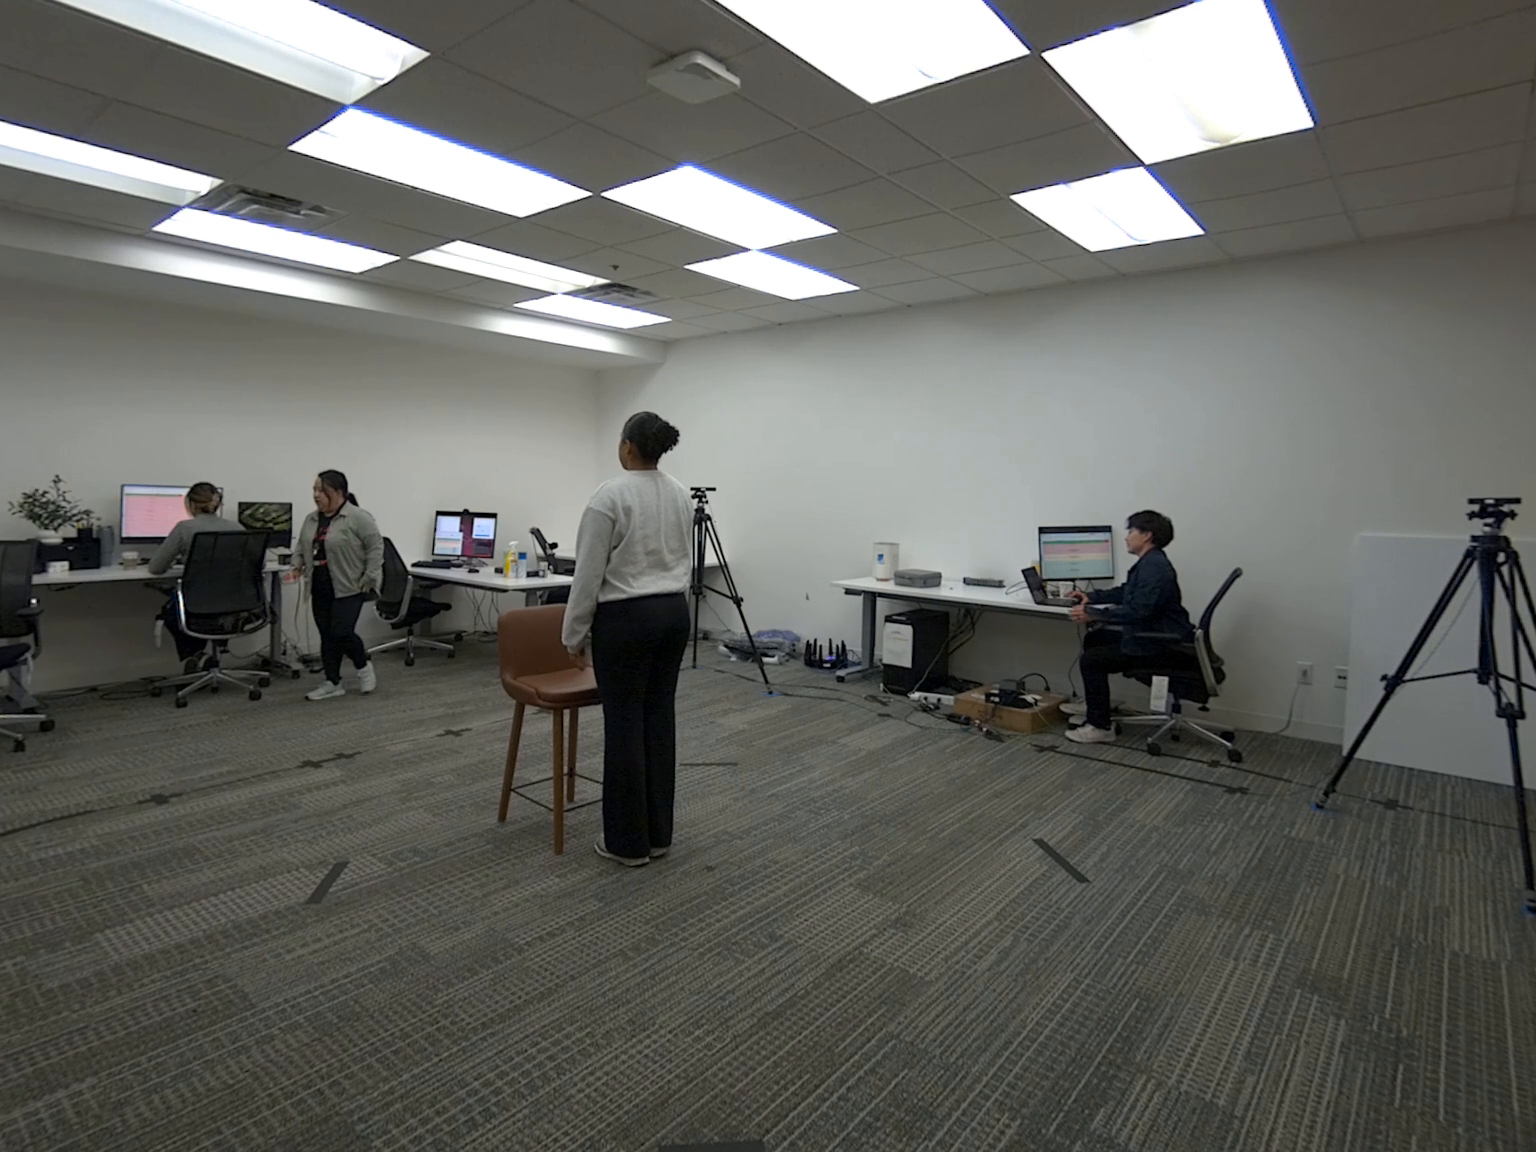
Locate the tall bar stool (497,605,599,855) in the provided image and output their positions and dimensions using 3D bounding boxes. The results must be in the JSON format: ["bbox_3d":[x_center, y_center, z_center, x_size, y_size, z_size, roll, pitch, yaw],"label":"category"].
[{"bbox_3d":[-0.830,0.578,3.472,0.483,0.889,0.442,1,2,42],"label":"tall bar stool"}]
